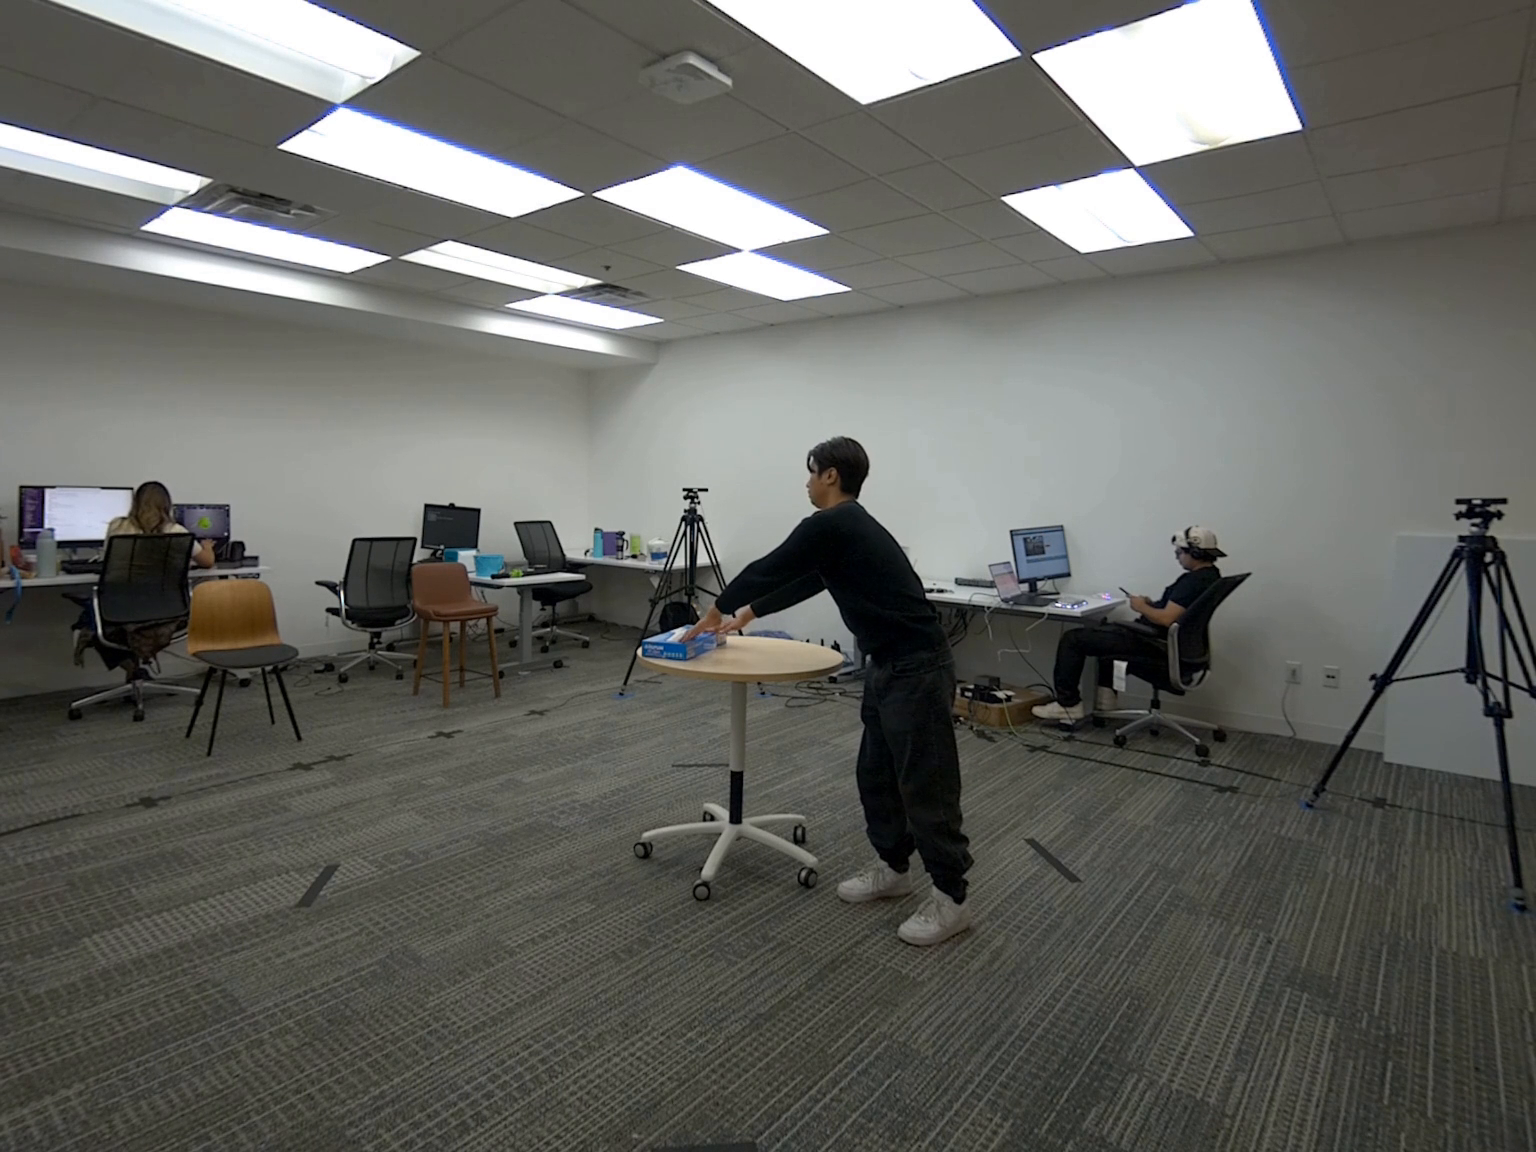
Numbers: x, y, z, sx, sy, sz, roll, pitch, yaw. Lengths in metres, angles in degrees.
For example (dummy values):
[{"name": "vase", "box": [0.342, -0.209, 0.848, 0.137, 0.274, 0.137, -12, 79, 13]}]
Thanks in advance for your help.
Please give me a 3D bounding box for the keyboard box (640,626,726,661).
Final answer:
[{"name": "keyboard box", "box": [-0.314, 0.248, 3.218, 0.179, 0.059, 0.430, 3, 6, 17]}]
